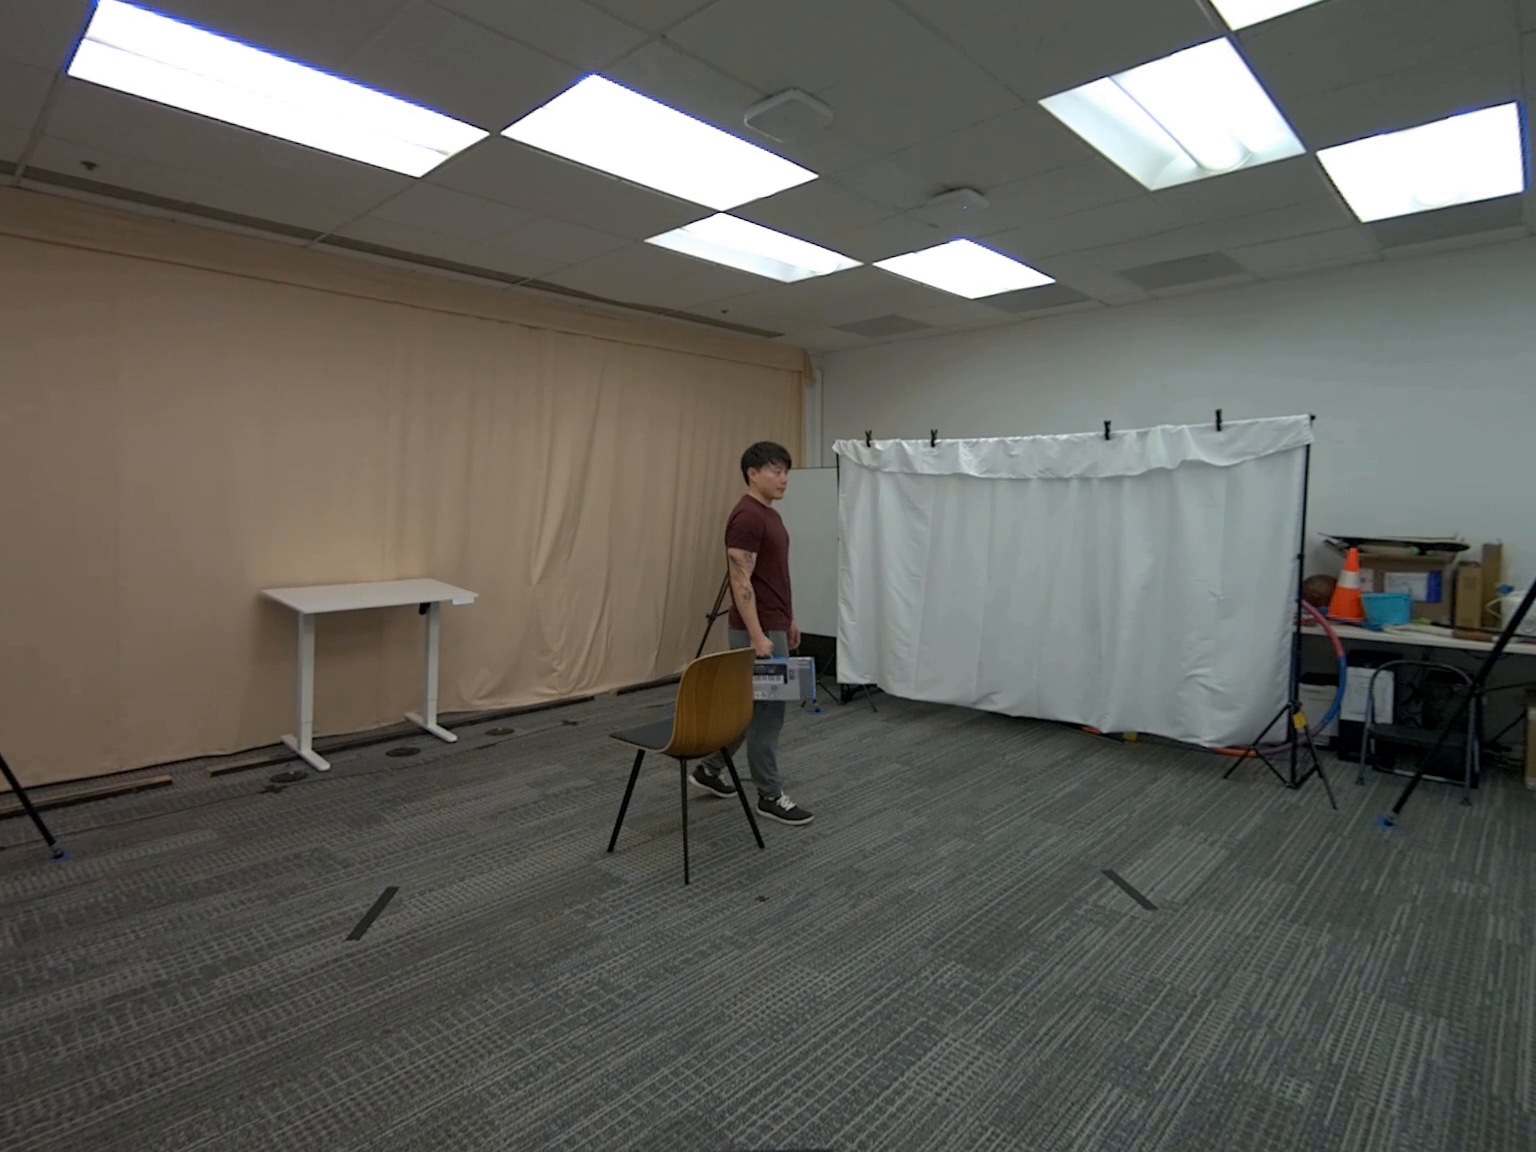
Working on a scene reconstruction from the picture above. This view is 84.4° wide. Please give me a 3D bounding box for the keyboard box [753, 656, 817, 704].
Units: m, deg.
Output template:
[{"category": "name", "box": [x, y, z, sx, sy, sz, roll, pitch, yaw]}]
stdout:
[{"category": "keyboard box", "box": [-0.026, 0.434, 3.576, 0.444, 0.175, 0.058, -2, 5, 16]}]
